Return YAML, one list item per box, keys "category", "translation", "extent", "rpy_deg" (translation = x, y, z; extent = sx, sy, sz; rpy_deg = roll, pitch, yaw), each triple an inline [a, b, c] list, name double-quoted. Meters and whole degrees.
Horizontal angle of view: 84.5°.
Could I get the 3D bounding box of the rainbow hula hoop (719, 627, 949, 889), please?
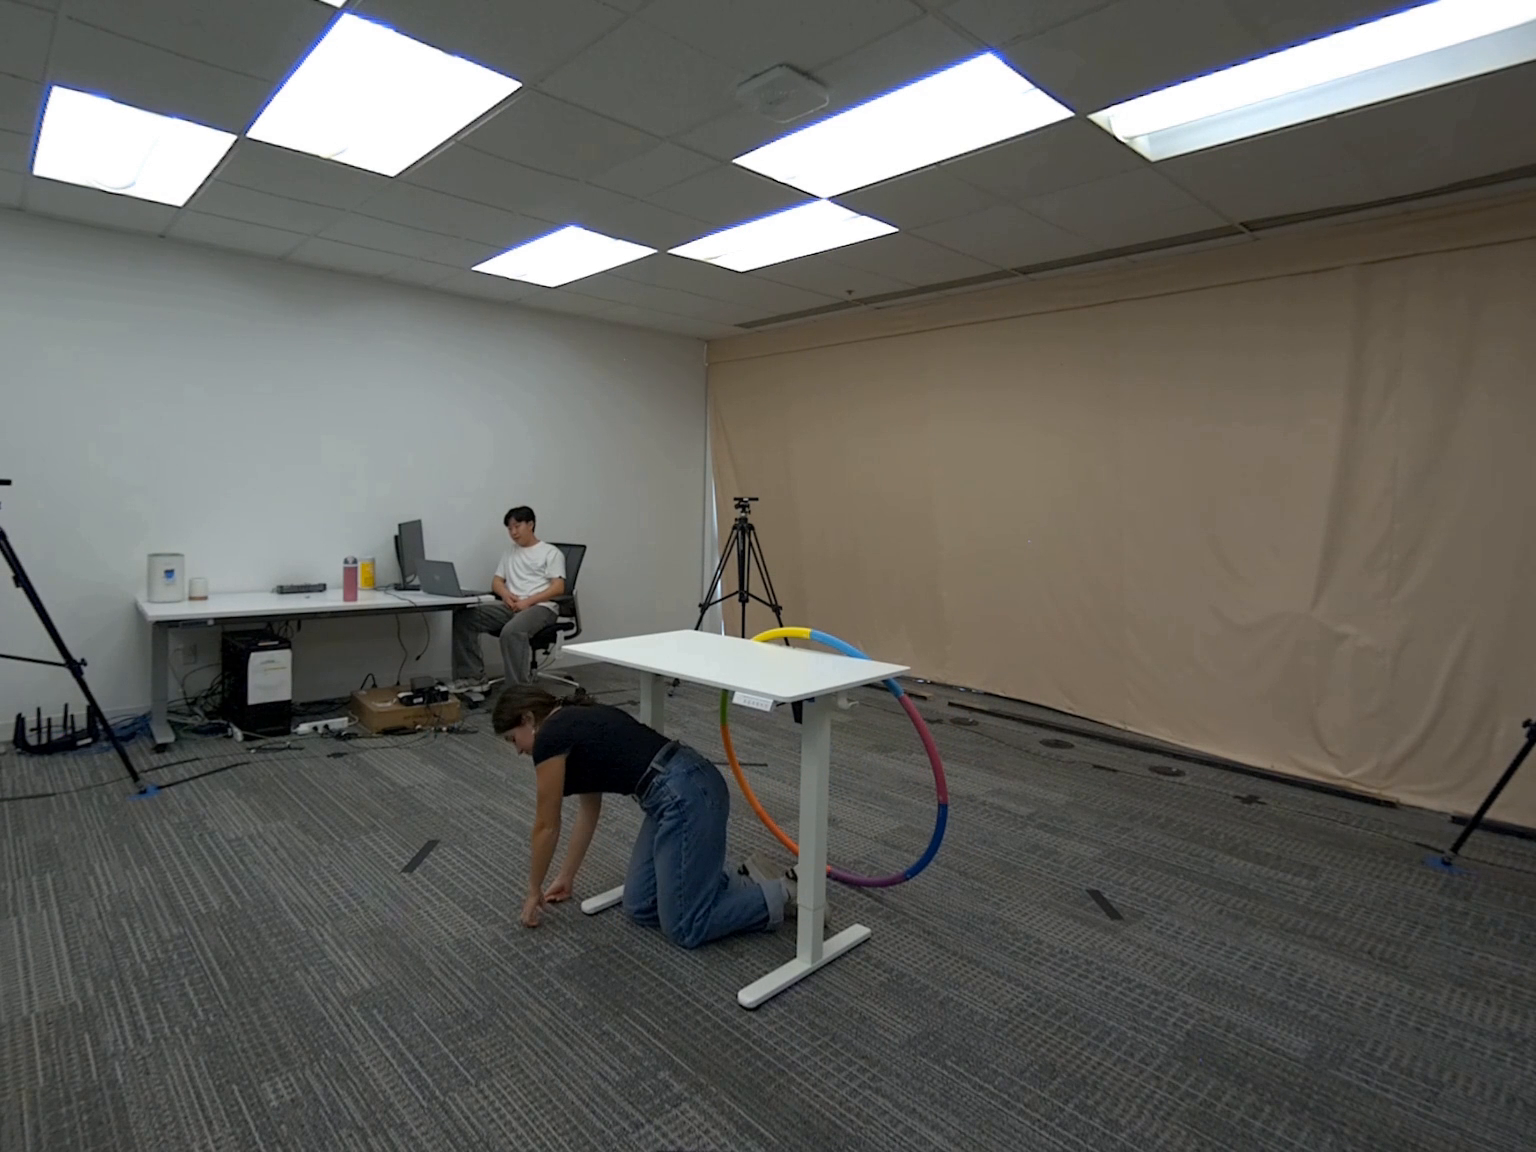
- category: "rainbow hula hoop"
  translation: [0.183, 0.655, 2.990]
  extent: [1.004, 0.967, 0.035]
  rpy_deg: [5, 19, 43]
